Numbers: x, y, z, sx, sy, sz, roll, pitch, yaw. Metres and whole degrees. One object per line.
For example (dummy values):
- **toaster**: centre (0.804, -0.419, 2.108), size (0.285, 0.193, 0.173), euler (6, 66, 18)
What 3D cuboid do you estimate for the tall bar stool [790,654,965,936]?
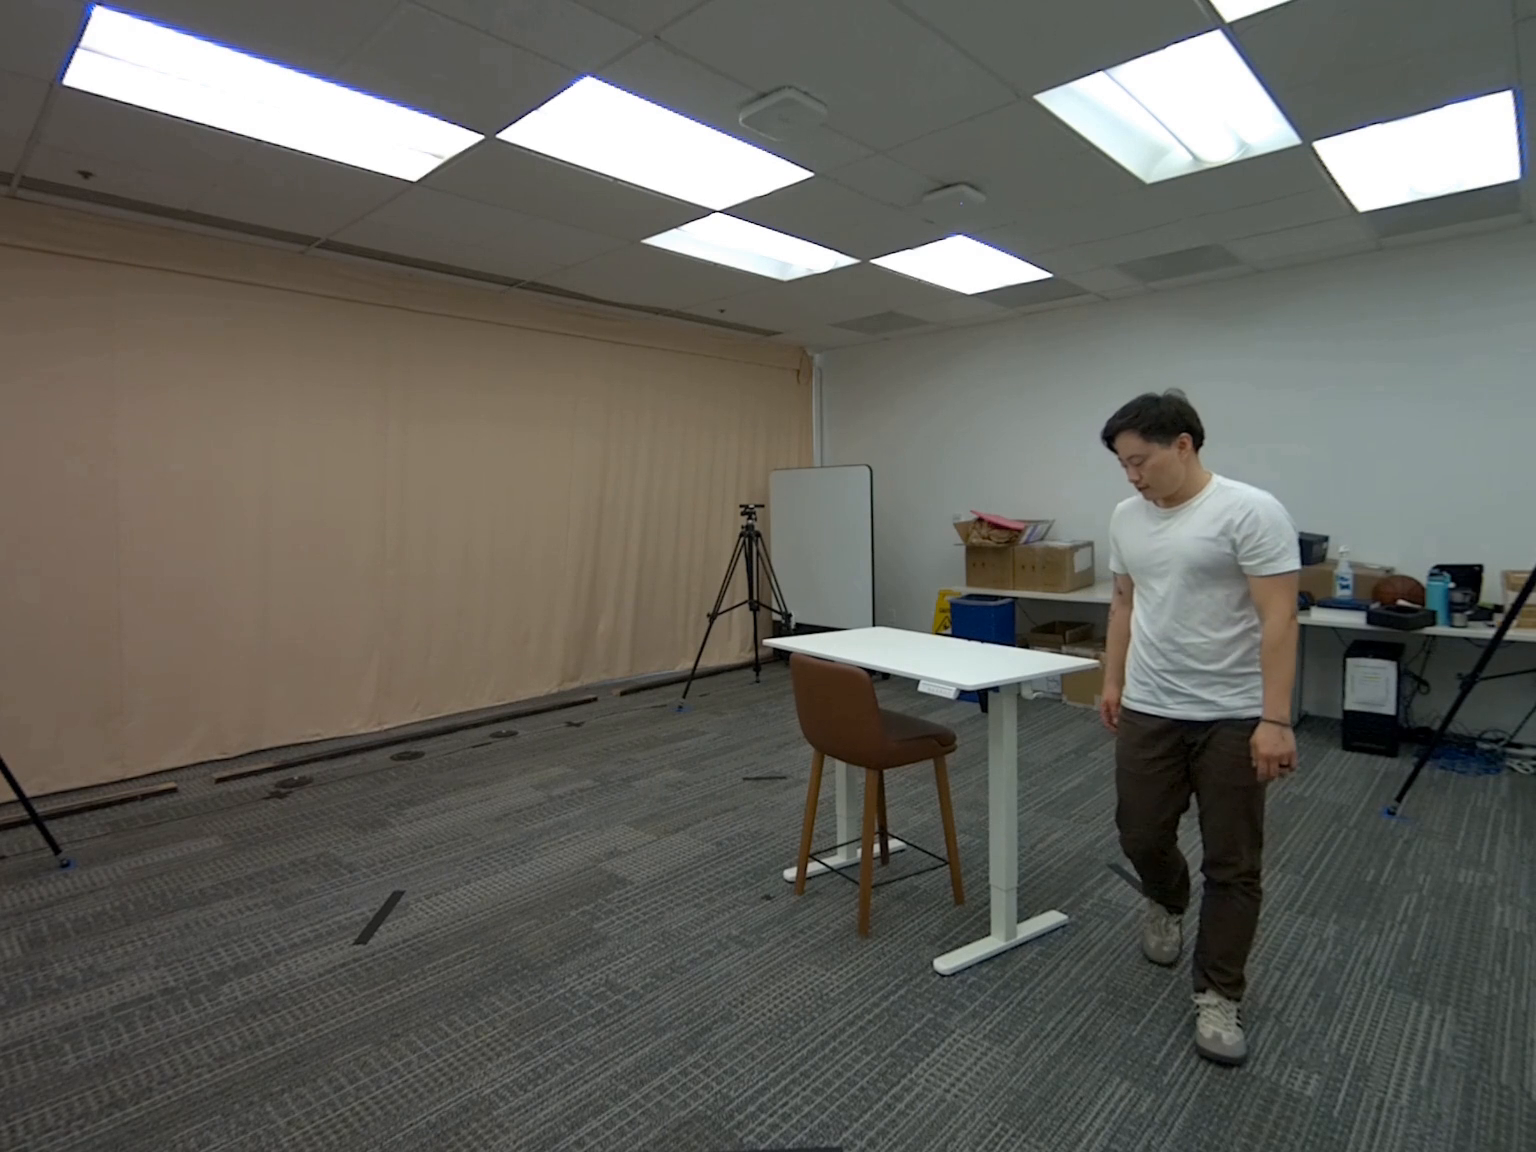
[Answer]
- **tall bar stool**: centre (0.372, 0.704, 2.939), size (0.455, 0.887, 0.470), euler (-5, 5, -32)
